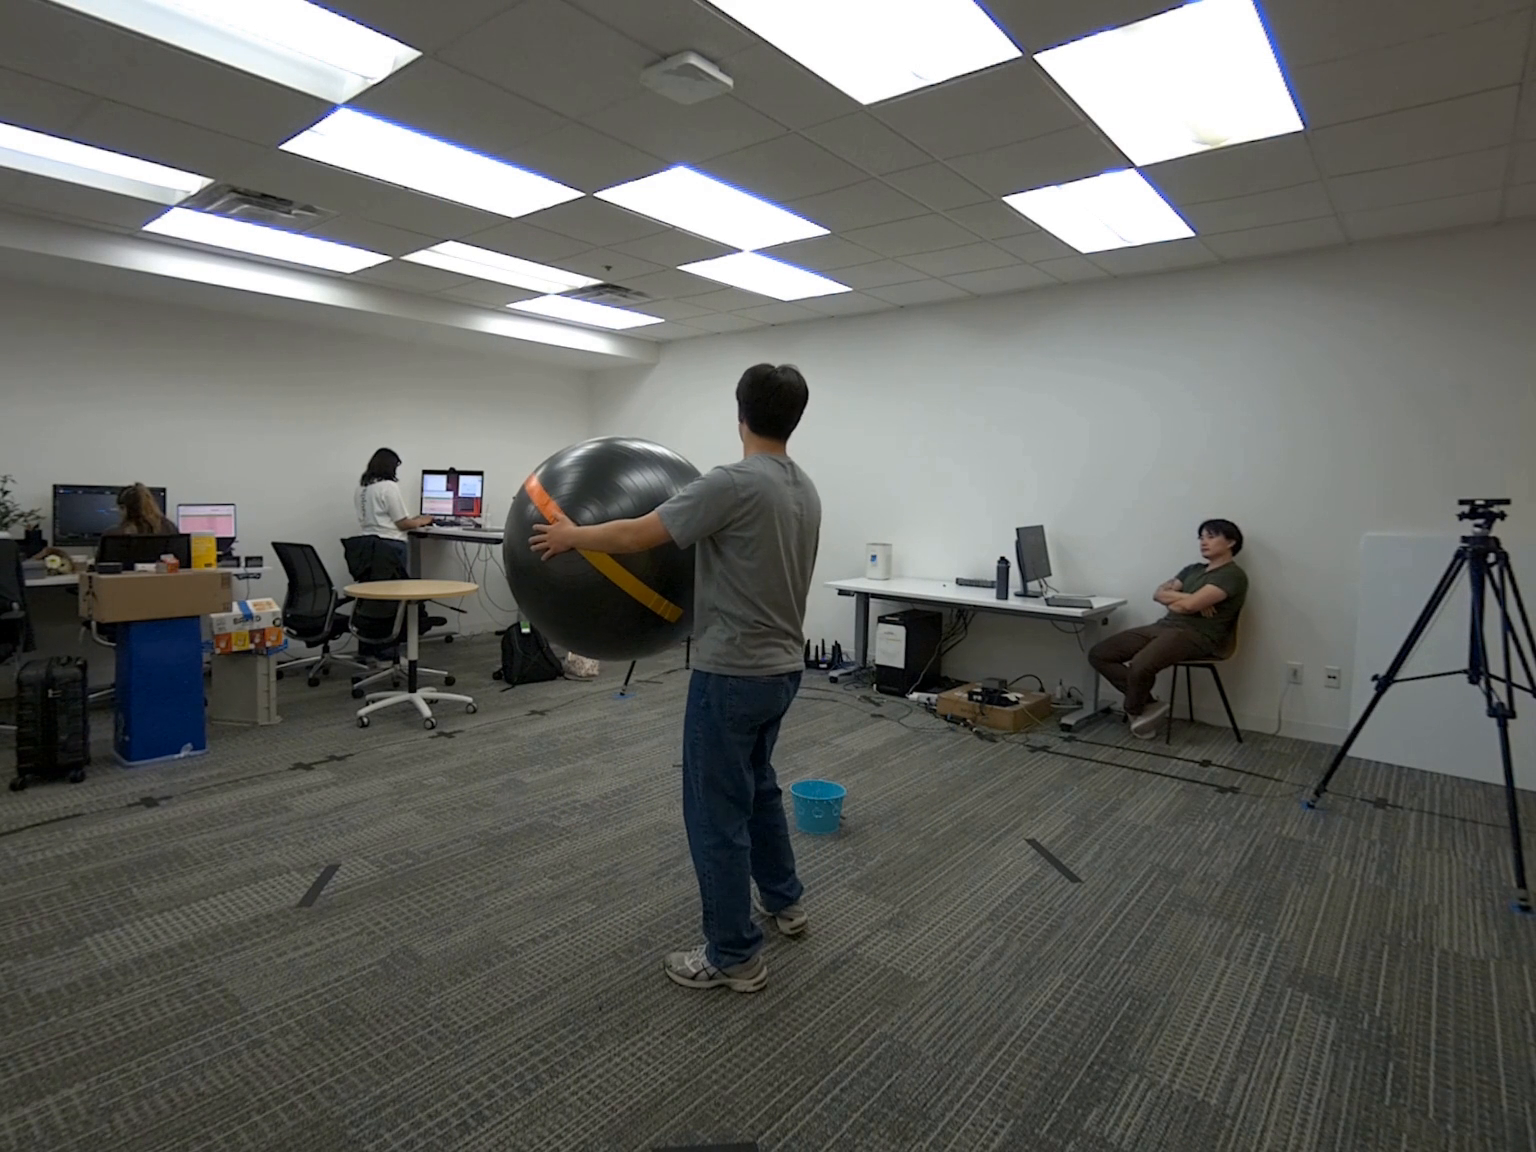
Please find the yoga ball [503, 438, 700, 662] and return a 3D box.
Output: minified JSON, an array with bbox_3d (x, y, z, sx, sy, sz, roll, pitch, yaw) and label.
[{"bbox_3d":[-0.519,-0.085,2.884,0.757,0.755,0.762,1,4,-2],"label":"yoga ball"}]
